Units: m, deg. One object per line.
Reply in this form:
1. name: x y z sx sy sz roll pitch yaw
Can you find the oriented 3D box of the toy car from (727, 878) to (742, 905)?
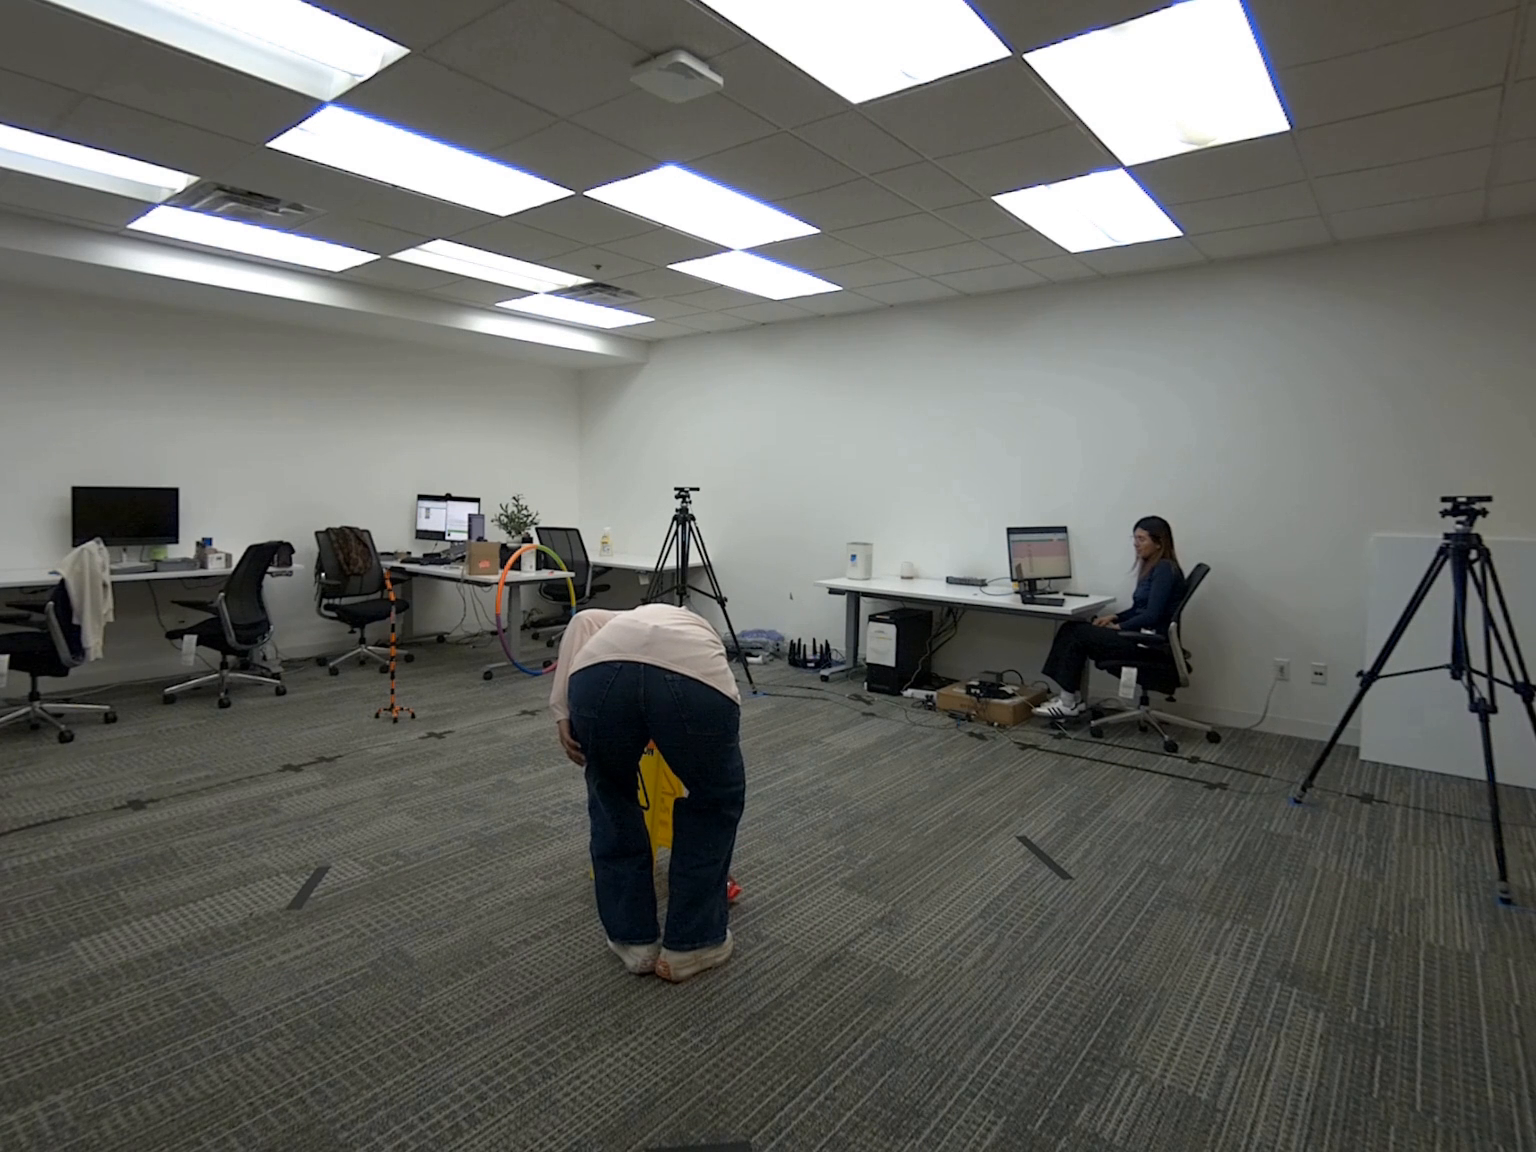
1. toy car: -0.217 1.056 2.874 0.261 0.083 0.126 -7 -2 37
